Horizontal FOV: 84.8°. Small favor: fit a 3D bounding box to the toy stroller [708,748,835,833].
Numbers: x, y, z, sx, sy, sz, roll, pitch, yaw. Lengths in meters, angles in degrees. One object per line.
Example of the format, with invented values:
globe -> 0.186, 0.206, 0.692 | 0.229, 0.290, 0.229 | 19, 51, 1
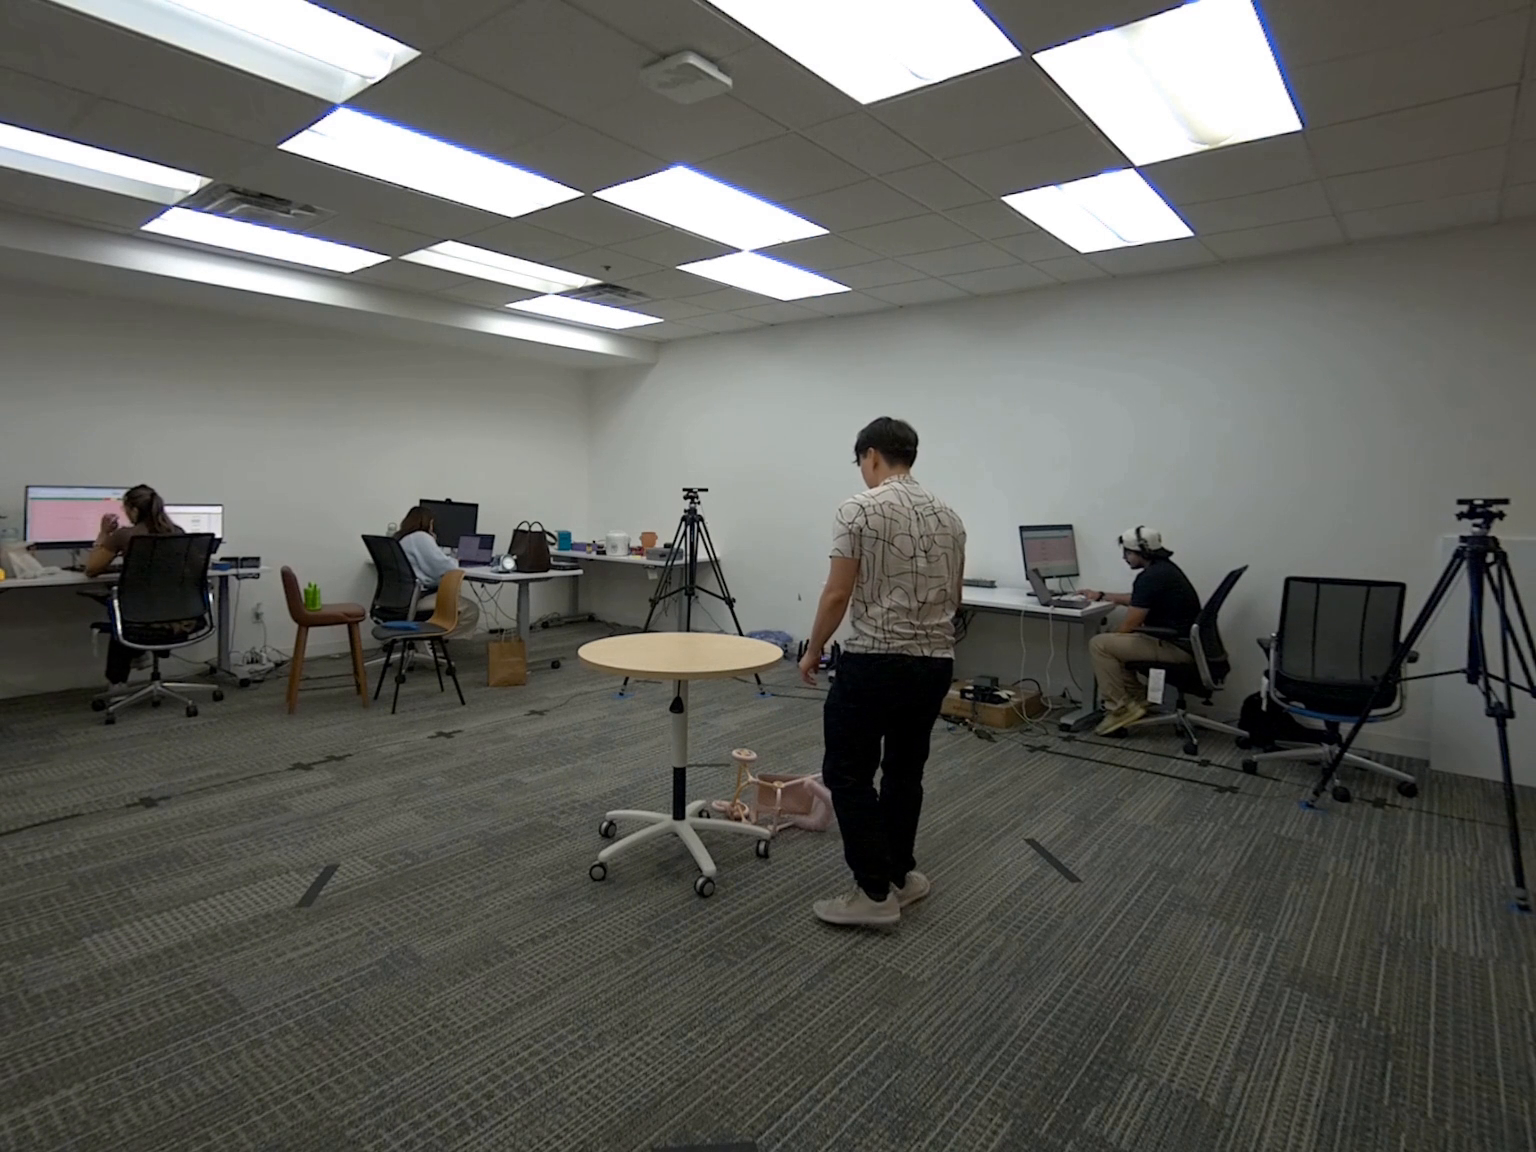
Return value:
toy stroller -> 0.031, 0.914, 3.507 | 0.535, 0.280, 0.343 | 9, 6, -1
